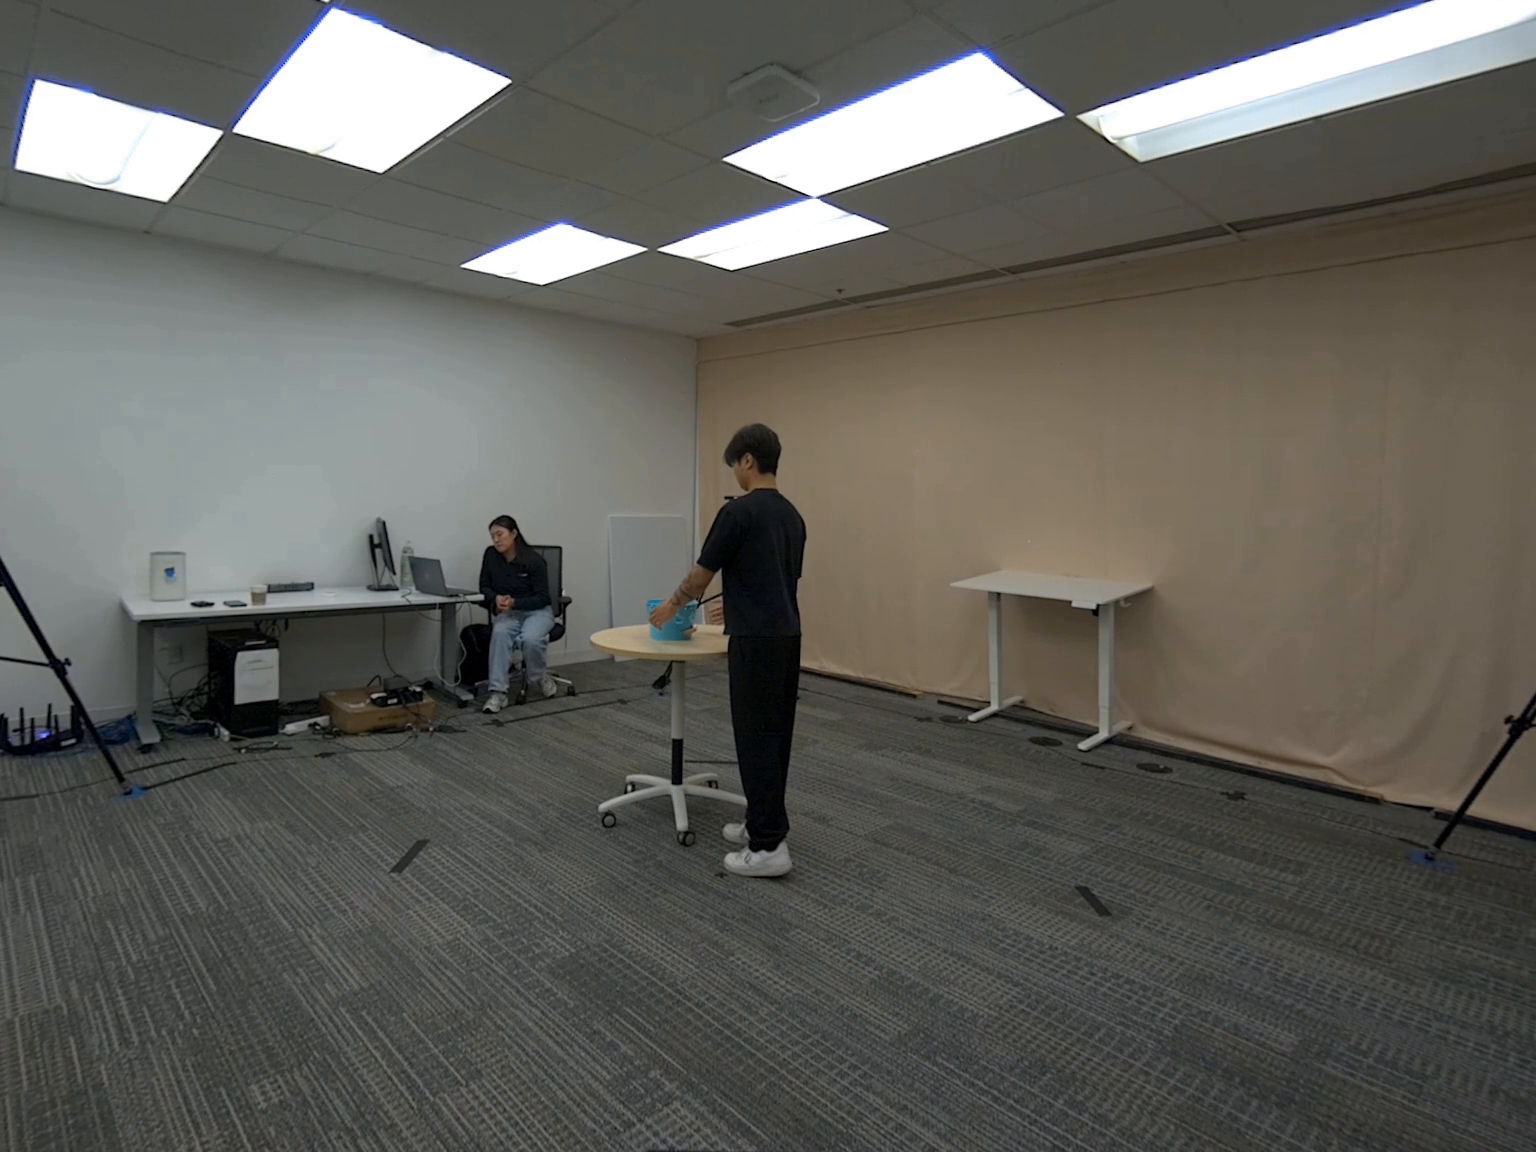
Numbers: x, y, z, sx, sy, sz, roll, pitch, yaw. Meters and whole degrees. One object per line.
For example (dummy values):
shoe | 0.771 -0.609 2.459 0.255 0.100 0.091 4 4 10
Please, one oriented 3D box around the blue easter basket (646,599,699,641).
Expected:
blue easter basket | -0.427 0.190 3.638 0.243 0.155 0.244 0 4 -1
